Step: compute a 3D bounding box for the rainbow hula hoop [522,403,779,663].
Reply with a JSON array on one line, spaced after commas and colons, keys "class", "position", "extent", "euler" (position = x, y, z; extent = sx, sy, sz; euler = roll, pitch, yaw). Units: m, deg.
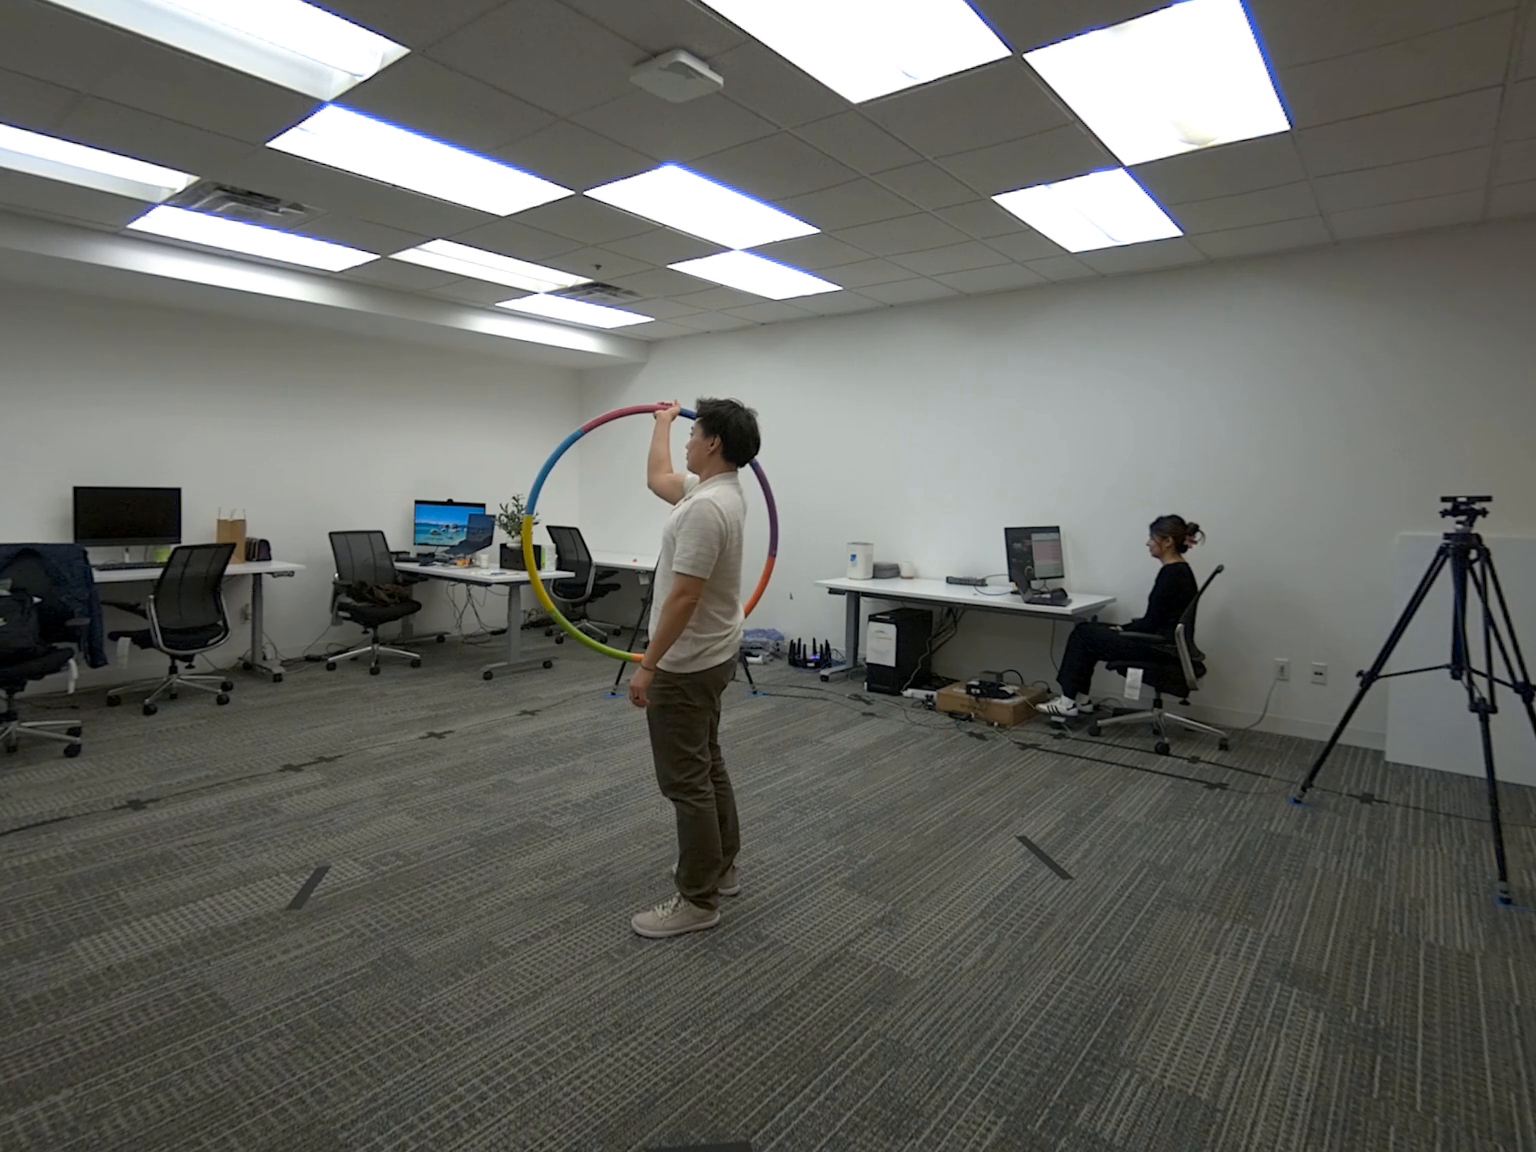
[{"class": "rainbow hula hoop", "position": [-0.442, -0.158, 3.235], "extent": [0.967, 0.972, 0.036], "euler": [0, 7, -11]}]
